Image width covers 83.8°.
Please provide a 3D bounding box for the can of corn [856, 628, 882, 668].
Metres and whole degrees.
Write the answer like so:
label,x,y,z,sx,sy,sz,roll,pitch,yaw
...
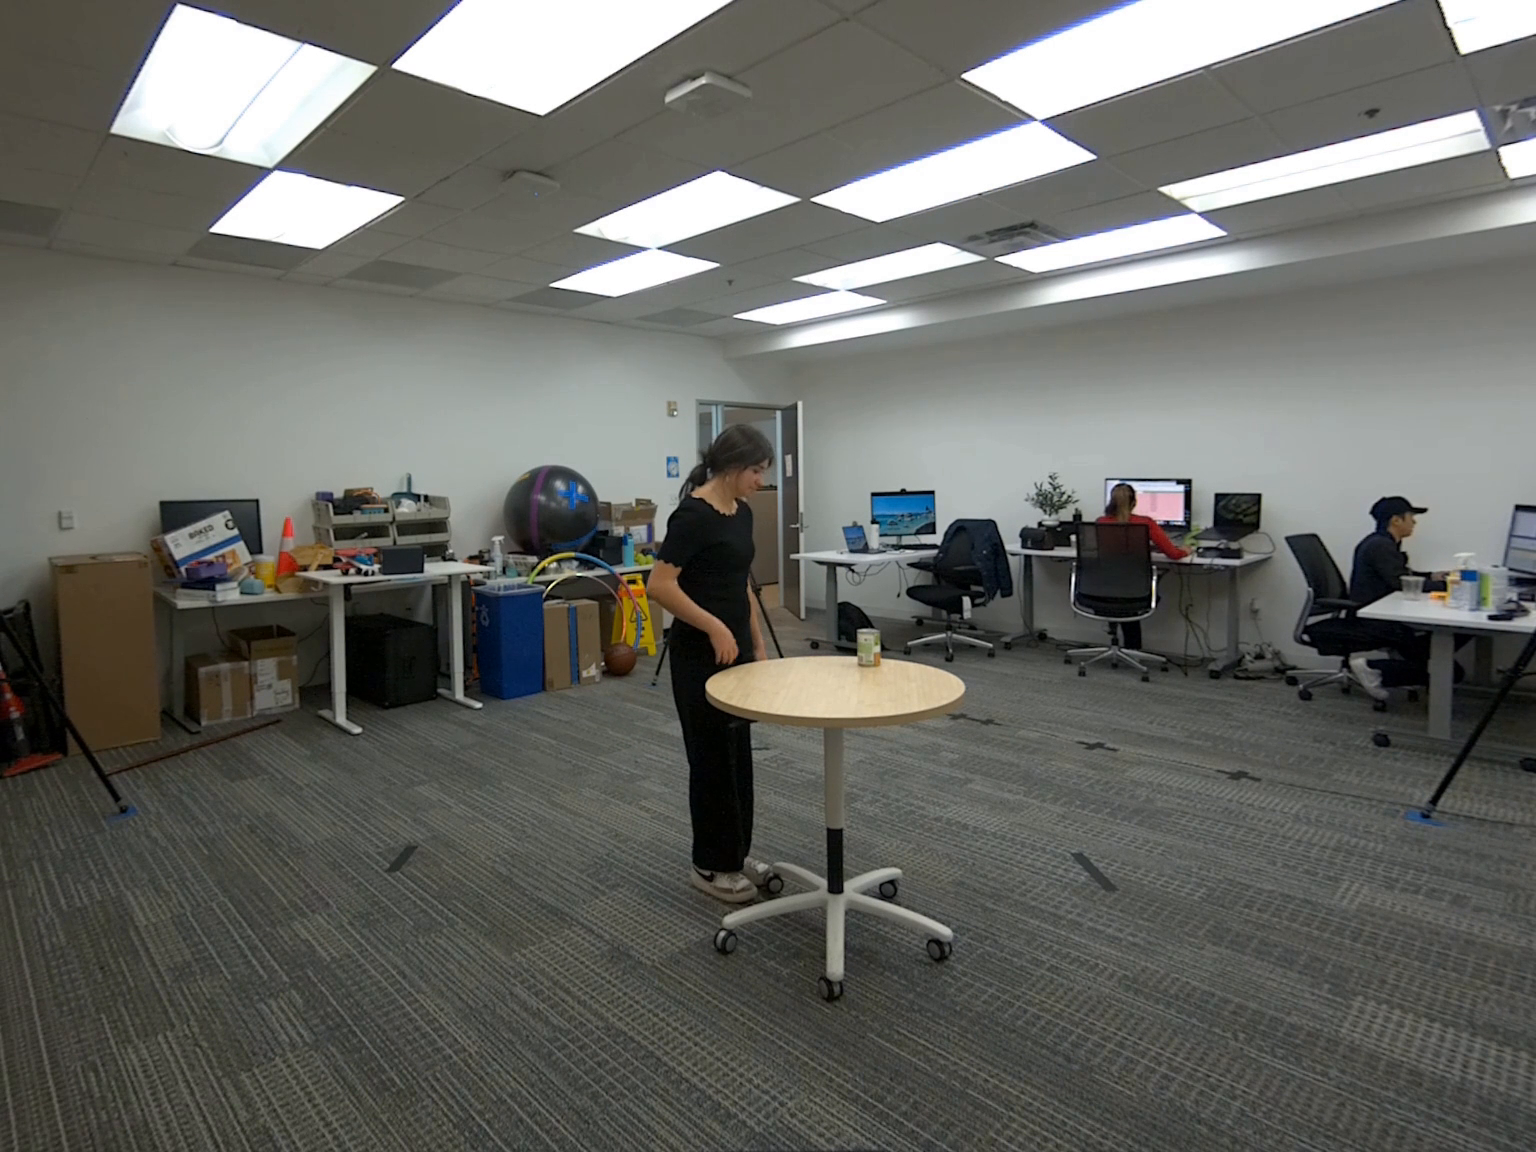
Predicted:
label,x,y,z,sx,sy,sz,roll,pitch,yaw
can of corn,0.326,0.233,2.787,0.074,0.111,0.074,-3,2,-2
